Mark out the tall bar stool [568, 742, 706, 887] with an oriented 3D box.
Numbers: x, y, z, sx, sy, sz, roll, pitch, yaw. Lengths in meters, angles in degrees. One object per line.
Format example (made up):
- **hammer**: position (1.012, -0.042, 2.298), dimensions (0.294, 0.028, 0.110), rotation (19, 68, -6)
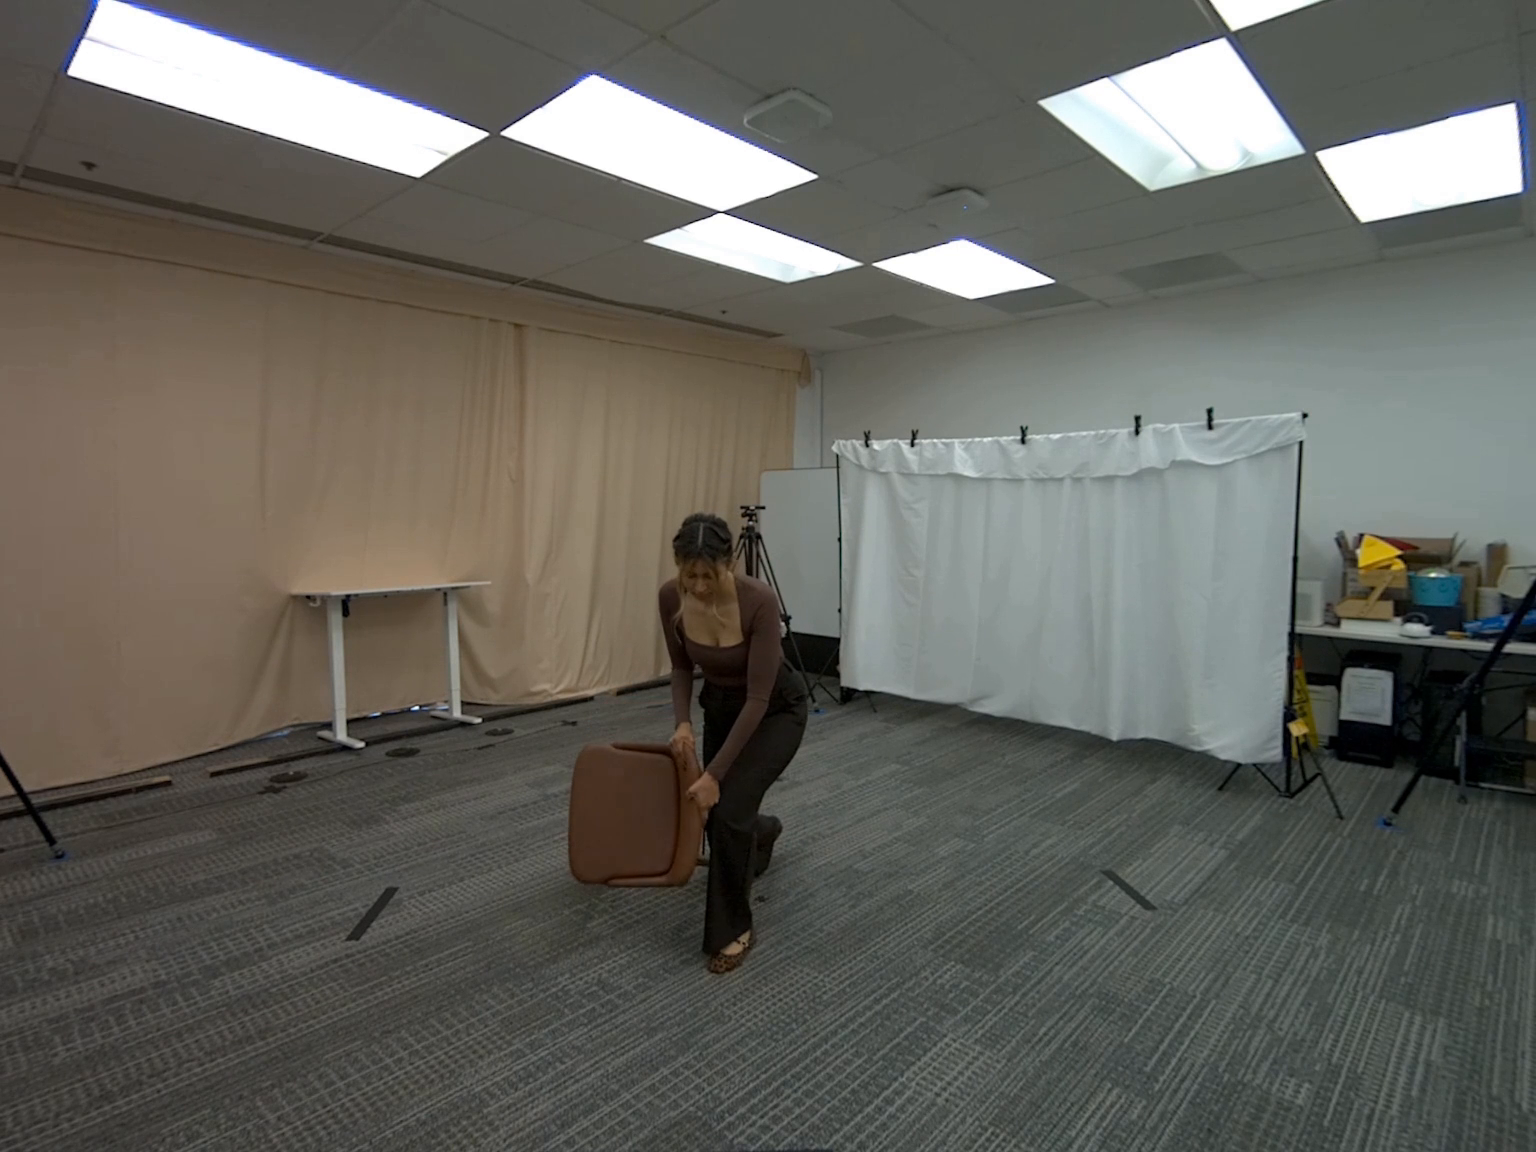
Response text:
- **tall bar stool**: position (-0.424, 0.818, 2.910), dimensions (0.469, 0.461, 0.879), rotation (1, -15, 1)
